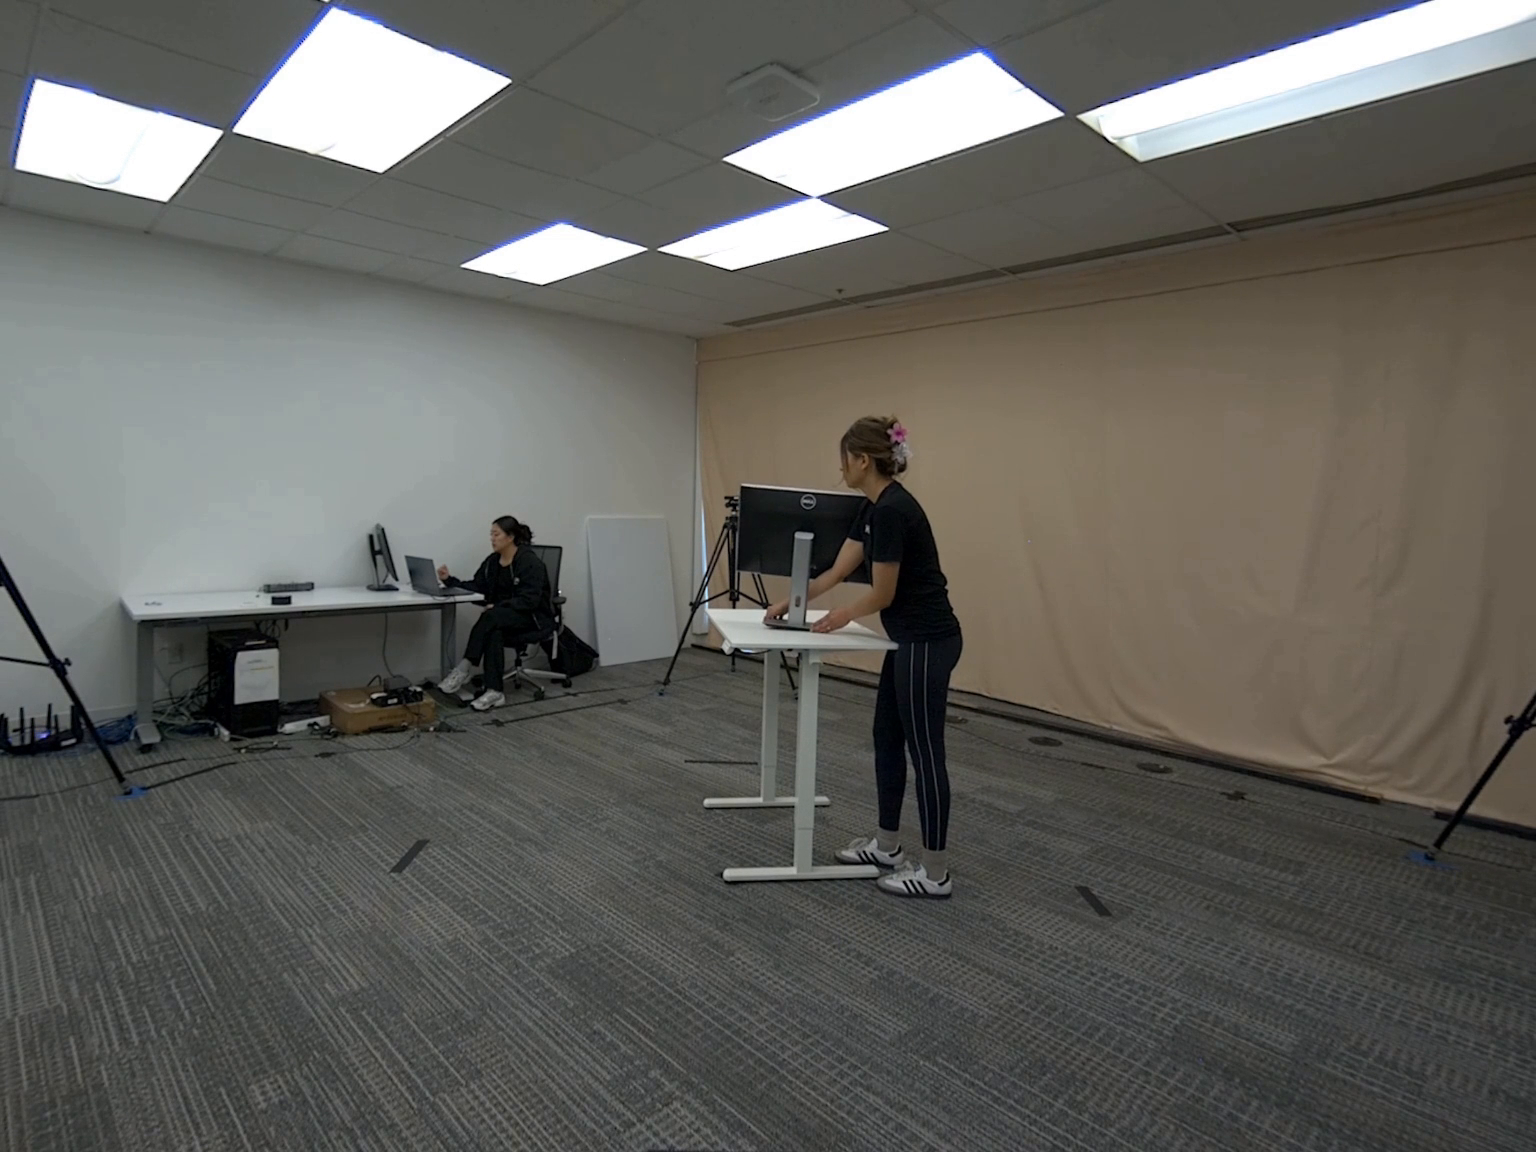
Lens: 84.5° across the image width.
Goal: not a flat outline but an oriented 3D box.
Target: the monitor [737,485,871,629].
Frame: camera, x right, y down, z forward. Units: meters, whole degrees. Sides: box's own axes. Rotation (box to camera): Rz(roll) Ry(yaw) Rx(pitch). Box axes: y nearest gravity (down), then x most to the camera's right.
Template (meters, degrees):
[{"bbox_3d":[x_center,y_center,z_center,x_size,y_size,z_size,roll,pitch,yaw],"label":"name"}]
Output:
[{"bbox_3d":[0.124,-0.062,3.328,0.544,0.520,0.186,6,6,11],"label":"monitor"}]
